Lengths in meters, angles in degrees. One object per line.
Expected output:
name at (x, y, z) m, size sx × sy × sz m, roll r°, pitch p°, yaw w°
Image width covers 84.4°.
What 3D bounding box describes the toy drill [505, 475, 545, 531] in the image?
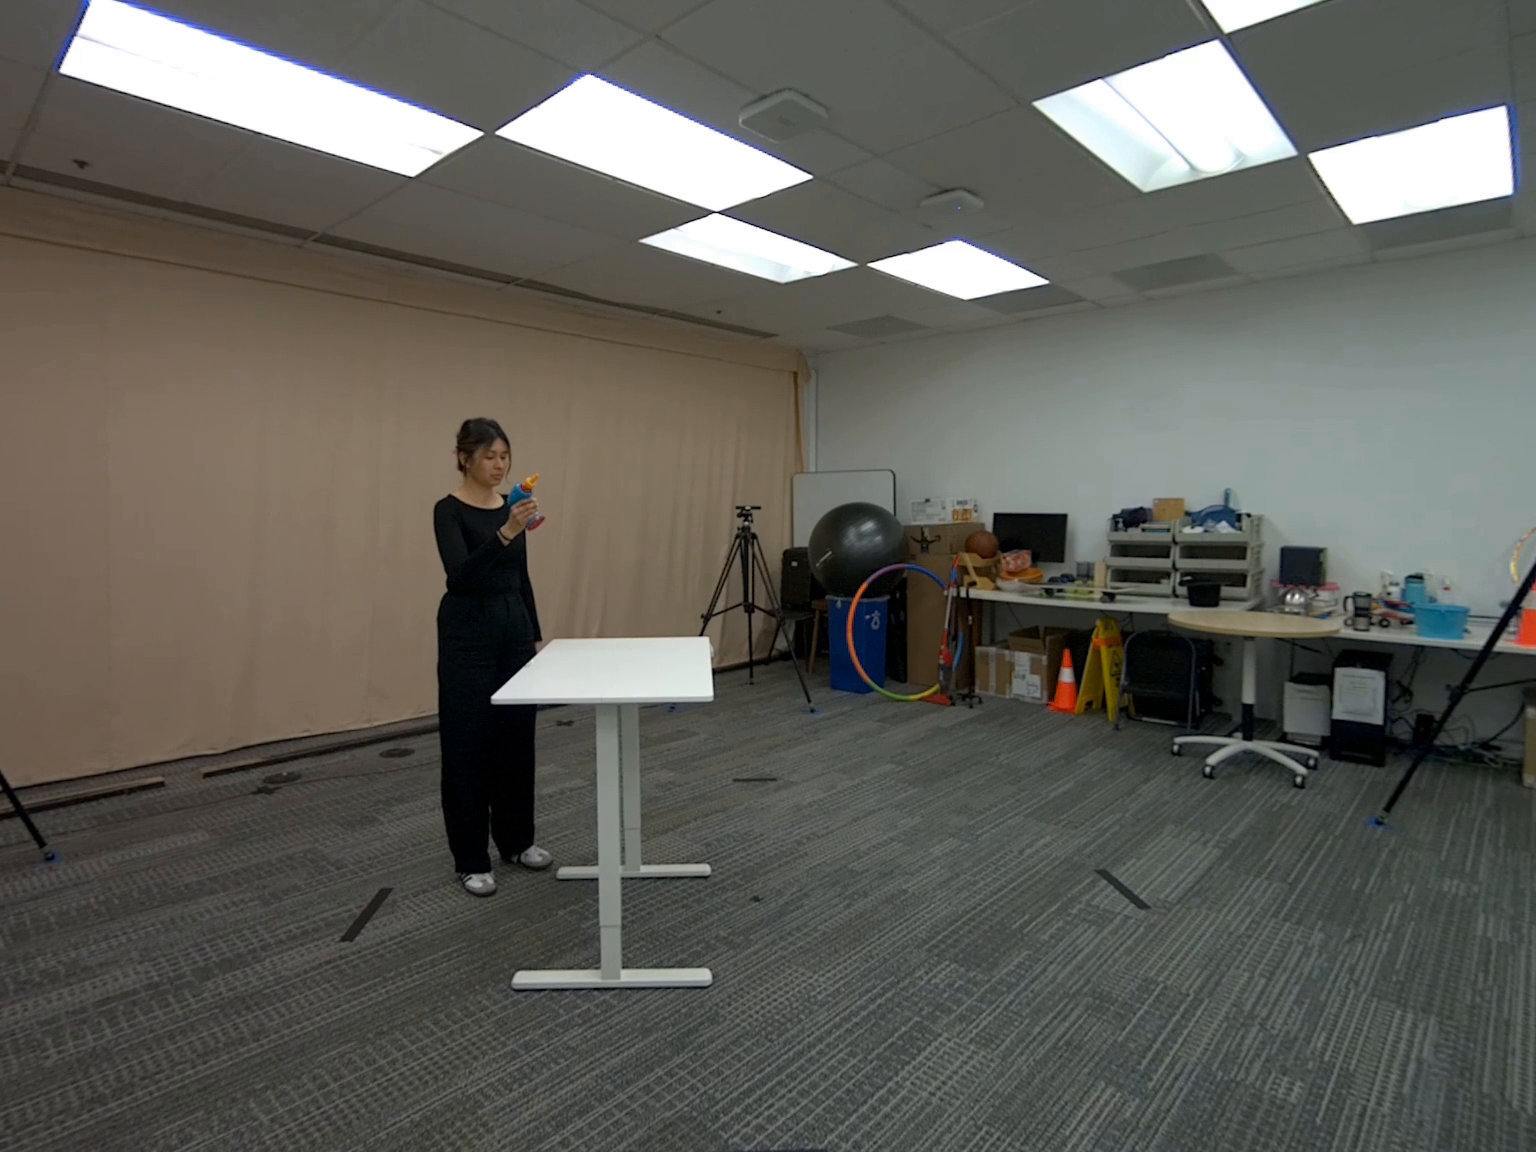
toy drill at (-0.778, -0.248, 2.734) m, size 0.171 × 0.147 × 0.060 m, roll -41°, pitch -5°, yaw 28°
